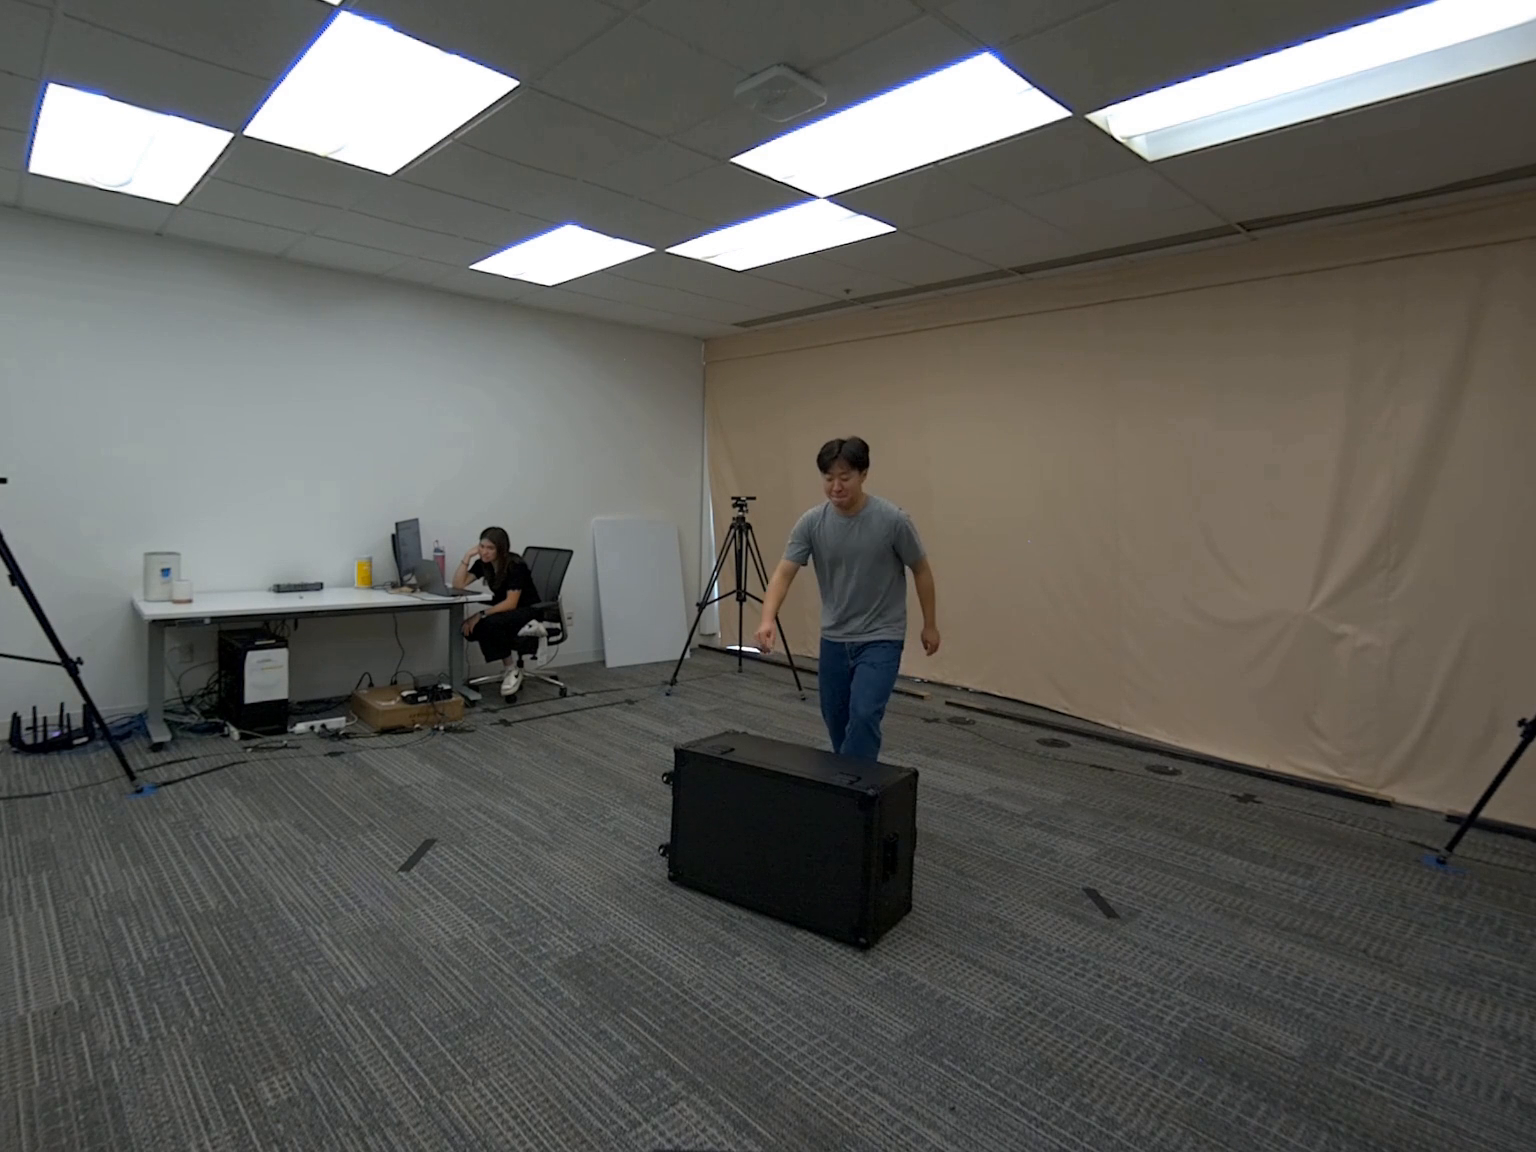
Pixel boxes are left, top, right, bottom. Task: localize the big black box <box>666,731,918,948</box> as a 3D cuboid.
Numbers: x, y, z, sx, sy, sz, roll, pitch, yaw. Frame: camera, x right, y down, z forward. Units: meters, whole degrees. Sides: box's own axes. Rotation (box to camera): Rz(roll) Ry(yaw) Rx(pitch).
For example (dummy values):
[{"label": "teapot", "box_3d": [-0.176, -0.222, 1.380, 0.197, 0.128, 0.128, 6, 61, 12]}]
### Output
[{"label": "big black box", "box_3d": [0.052, 0.866, 2.964, 0.882, 0.520, 0.387, 5, 3, 33]}]
